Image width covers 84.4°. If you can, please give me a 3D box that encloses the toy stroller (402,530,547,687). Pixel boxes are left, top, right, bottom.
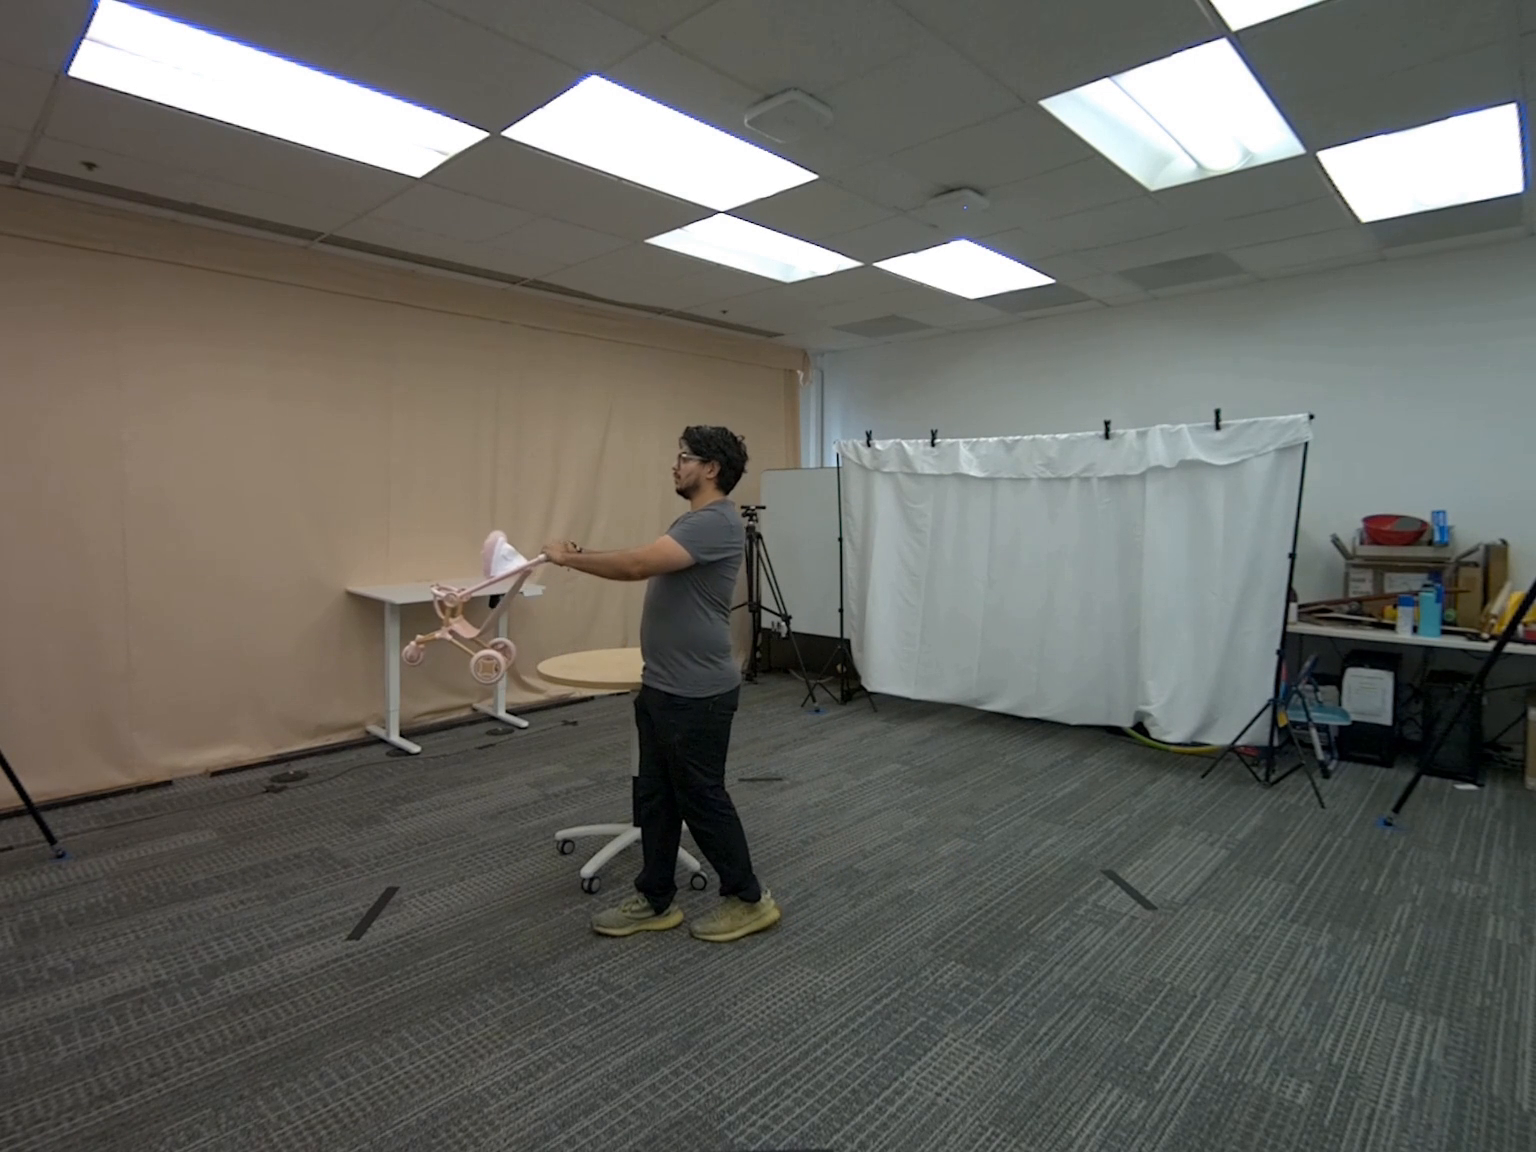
[{"bbox_3d":[-0.921,0.094,2.703,0.340,0.535,0.282,23,0,-4],"label":"toy stroller"}]
